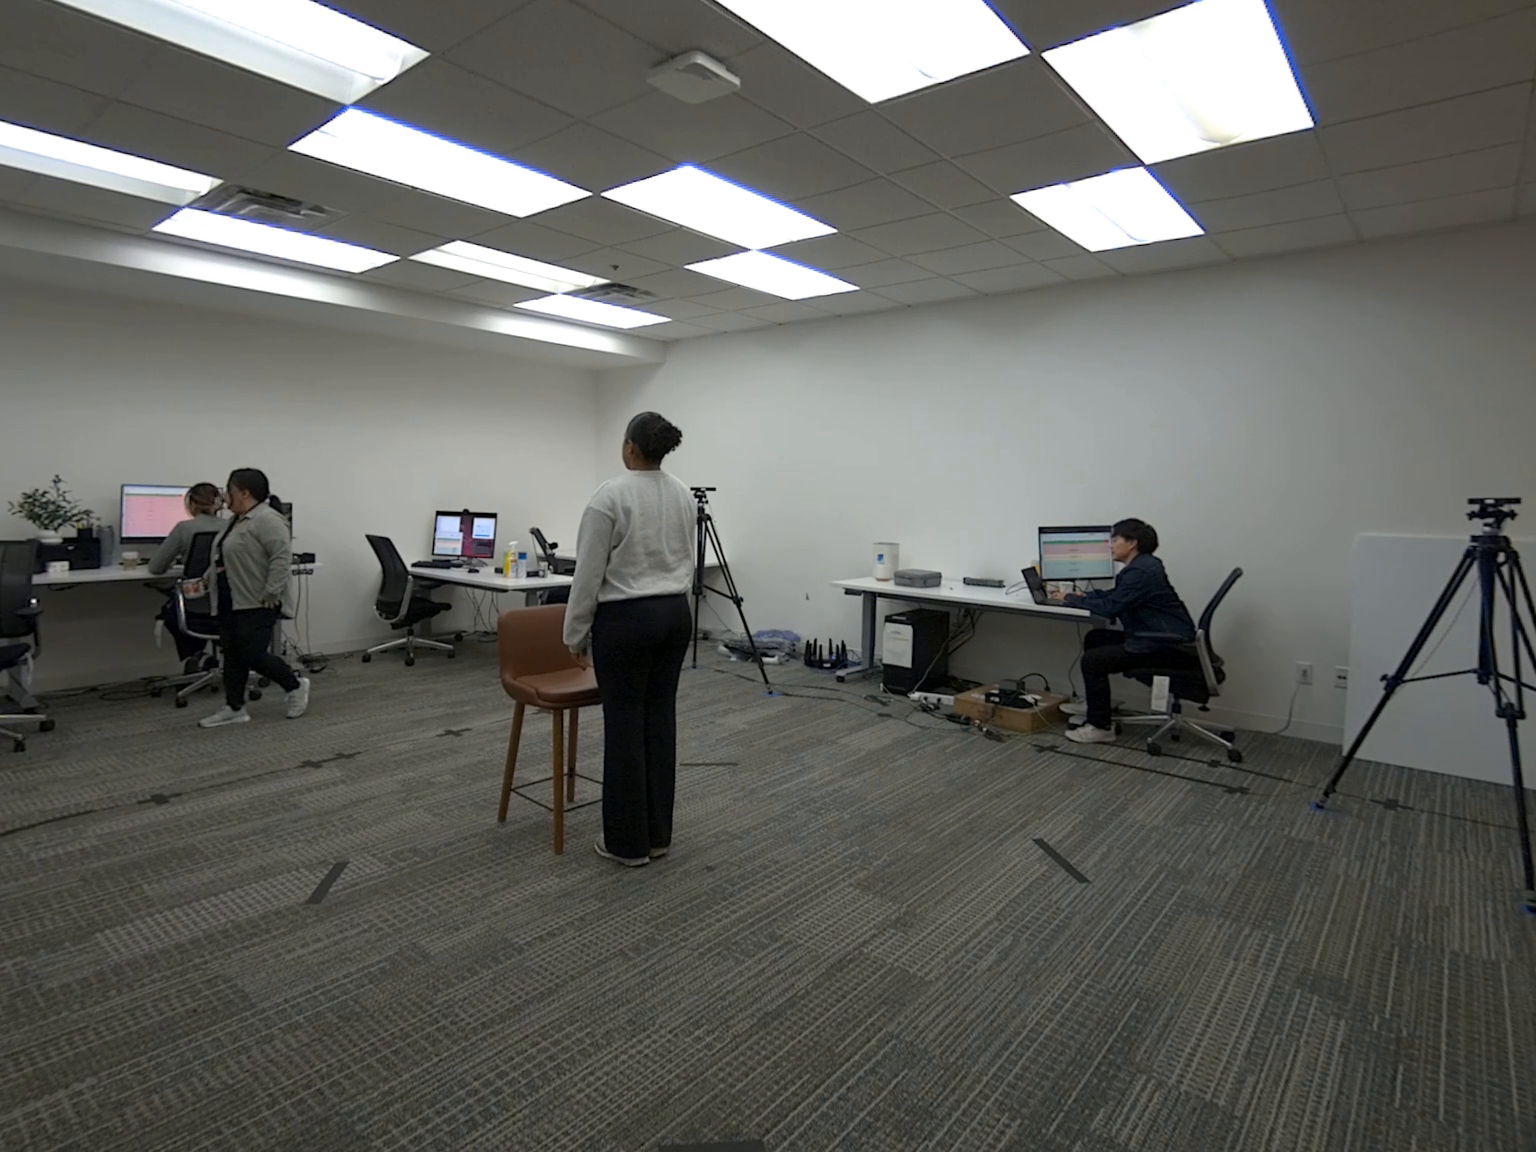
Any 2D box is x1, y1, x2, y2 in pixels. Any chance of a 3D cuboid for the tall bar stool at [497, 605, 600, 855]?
[{"bbox_3d":[-0.830,0.579,3.471,0.483,0.889,0.442,1,2,42],"label":"tall bar stool"}]
